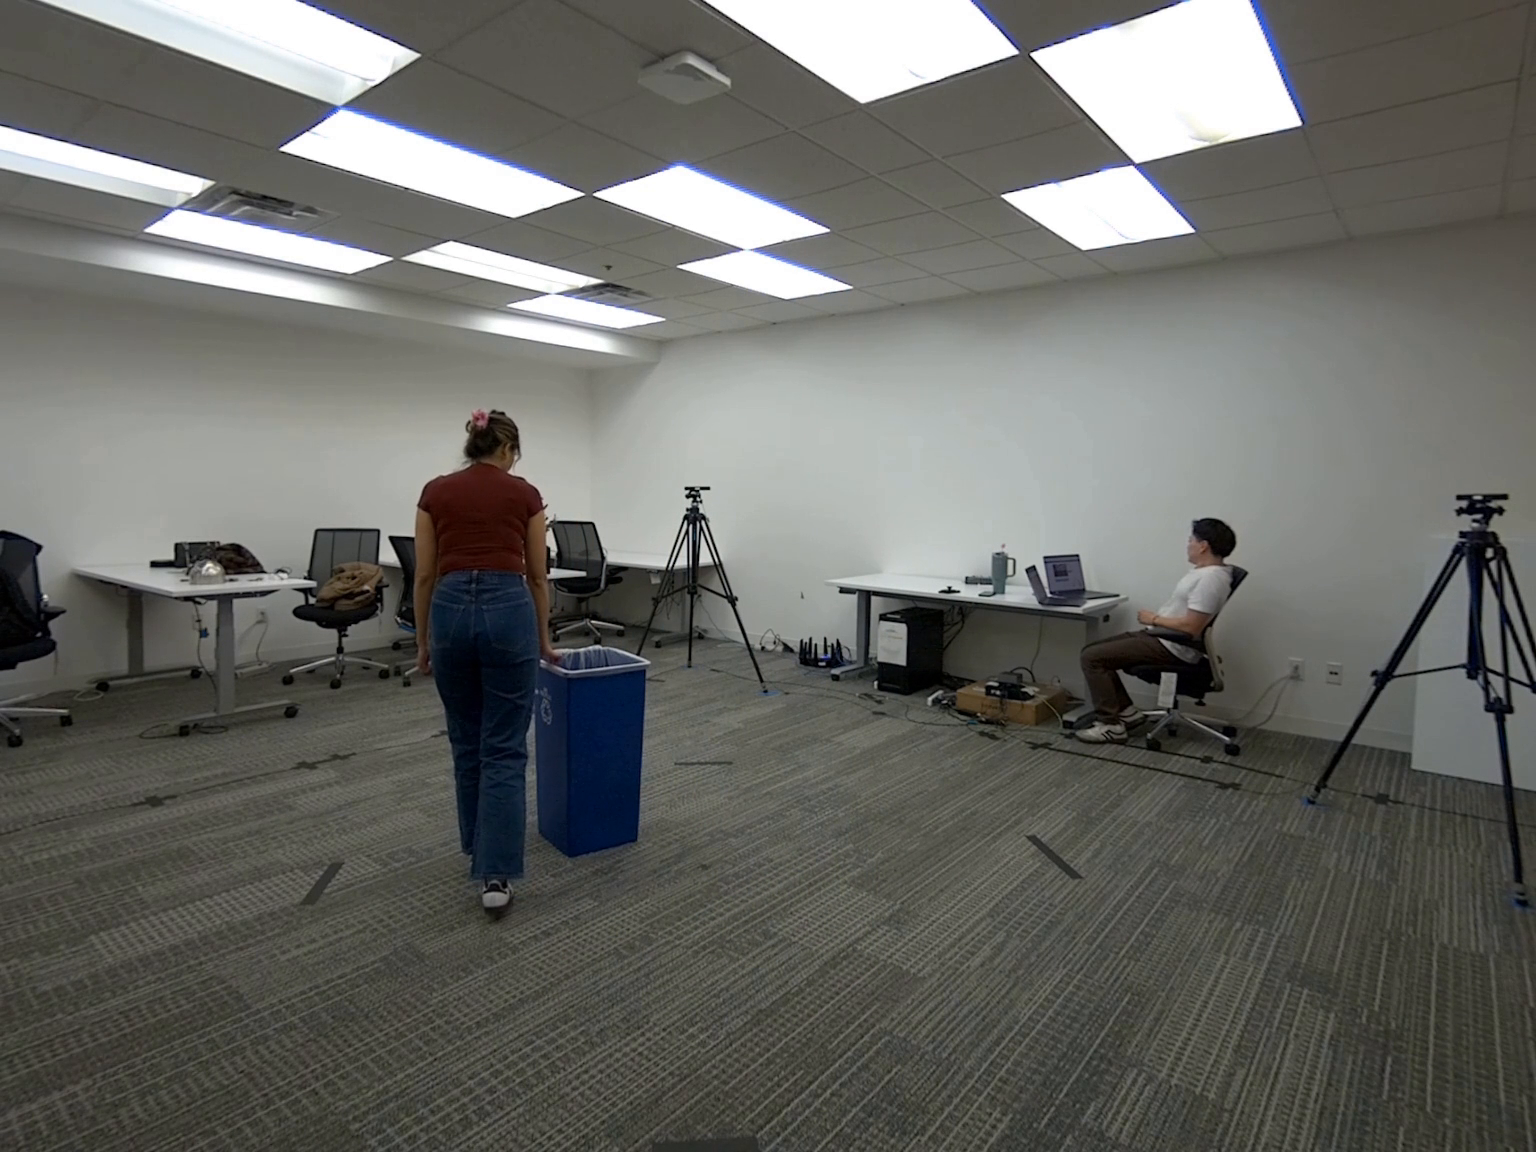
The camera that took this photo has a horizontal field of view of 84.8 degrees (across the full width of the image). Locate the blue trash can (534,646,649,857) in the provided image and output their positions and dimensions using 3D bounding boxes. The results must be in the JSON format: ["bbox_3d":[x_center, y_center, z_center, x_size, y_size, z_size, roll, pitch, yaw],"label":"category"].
[{"bbox_3d":[-0.716,0.675,3.362,0.367,0.711,0.386,-2,4,-38],"label":"blue trash can"}]
